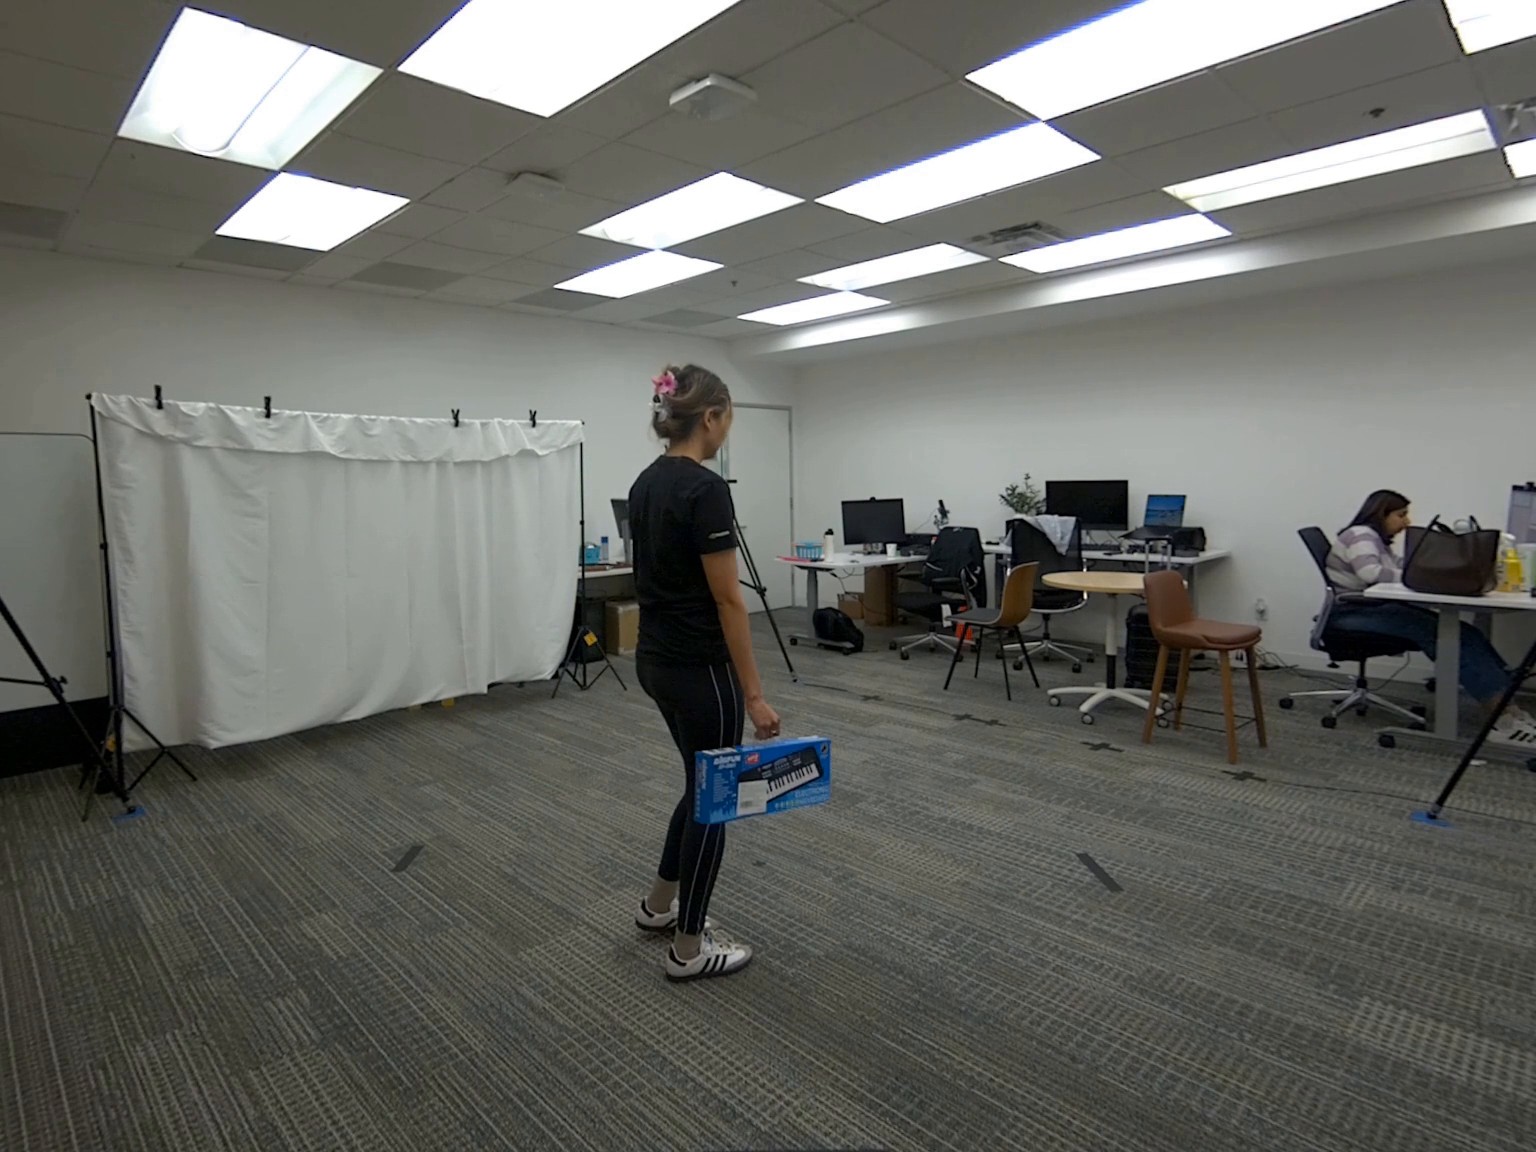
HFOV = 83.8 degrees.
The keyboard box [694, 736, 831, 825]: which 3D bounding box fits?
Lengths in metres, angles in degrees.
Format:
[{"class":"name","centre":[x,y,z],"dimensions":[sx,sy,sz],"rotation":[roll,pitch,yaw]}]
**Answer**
[{"class":"keyboard box","centre":[-0.009,0.532,2.269],"dimensions":[0.424,0.176,0.061],"rotation":[2,-4,-42]}]
